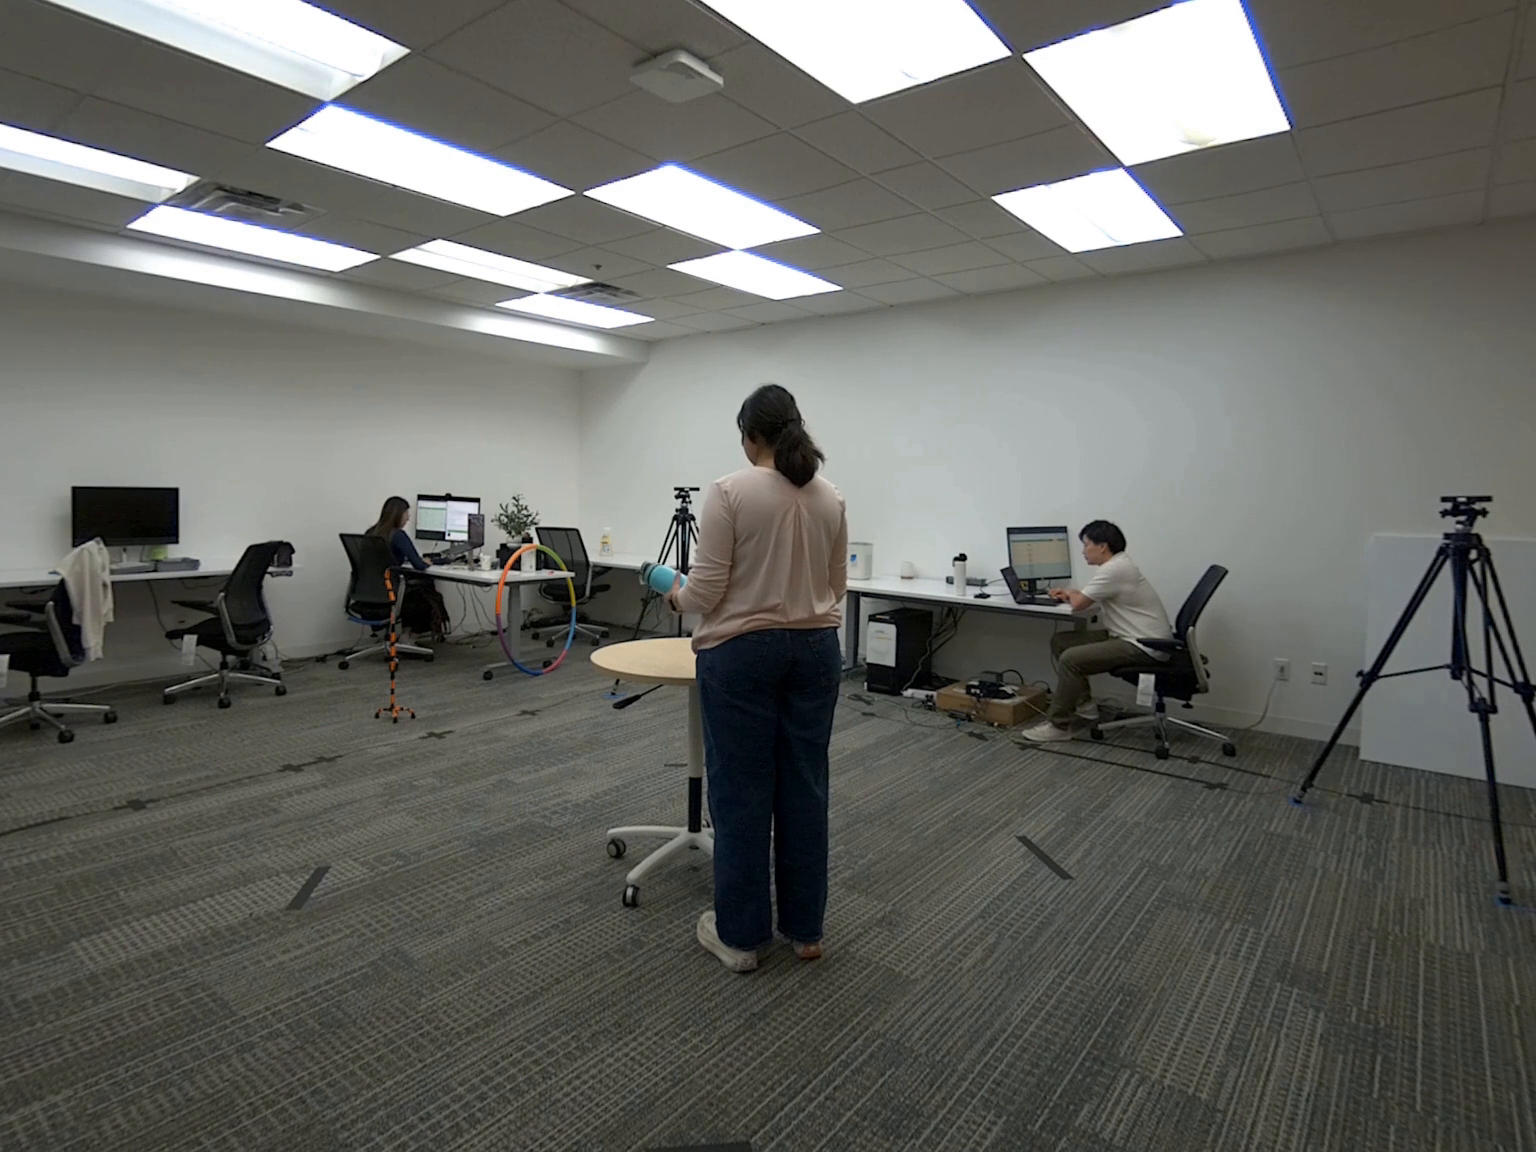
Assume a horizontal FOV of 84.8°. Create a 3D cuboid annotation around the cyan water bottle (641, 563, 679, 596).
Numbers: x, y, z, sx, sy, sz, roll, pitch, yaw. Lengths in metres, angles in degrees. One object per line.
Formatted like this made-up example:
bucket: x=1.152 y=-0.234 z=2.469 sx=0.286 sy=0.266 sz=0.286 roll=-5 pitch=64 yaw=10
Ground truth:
cyan water bottle: x=-0.300 y=0.023 z=2.763 sx=0.293 sy=0.091 sz=0.090 roll=25 pitch=15 yaw=28
